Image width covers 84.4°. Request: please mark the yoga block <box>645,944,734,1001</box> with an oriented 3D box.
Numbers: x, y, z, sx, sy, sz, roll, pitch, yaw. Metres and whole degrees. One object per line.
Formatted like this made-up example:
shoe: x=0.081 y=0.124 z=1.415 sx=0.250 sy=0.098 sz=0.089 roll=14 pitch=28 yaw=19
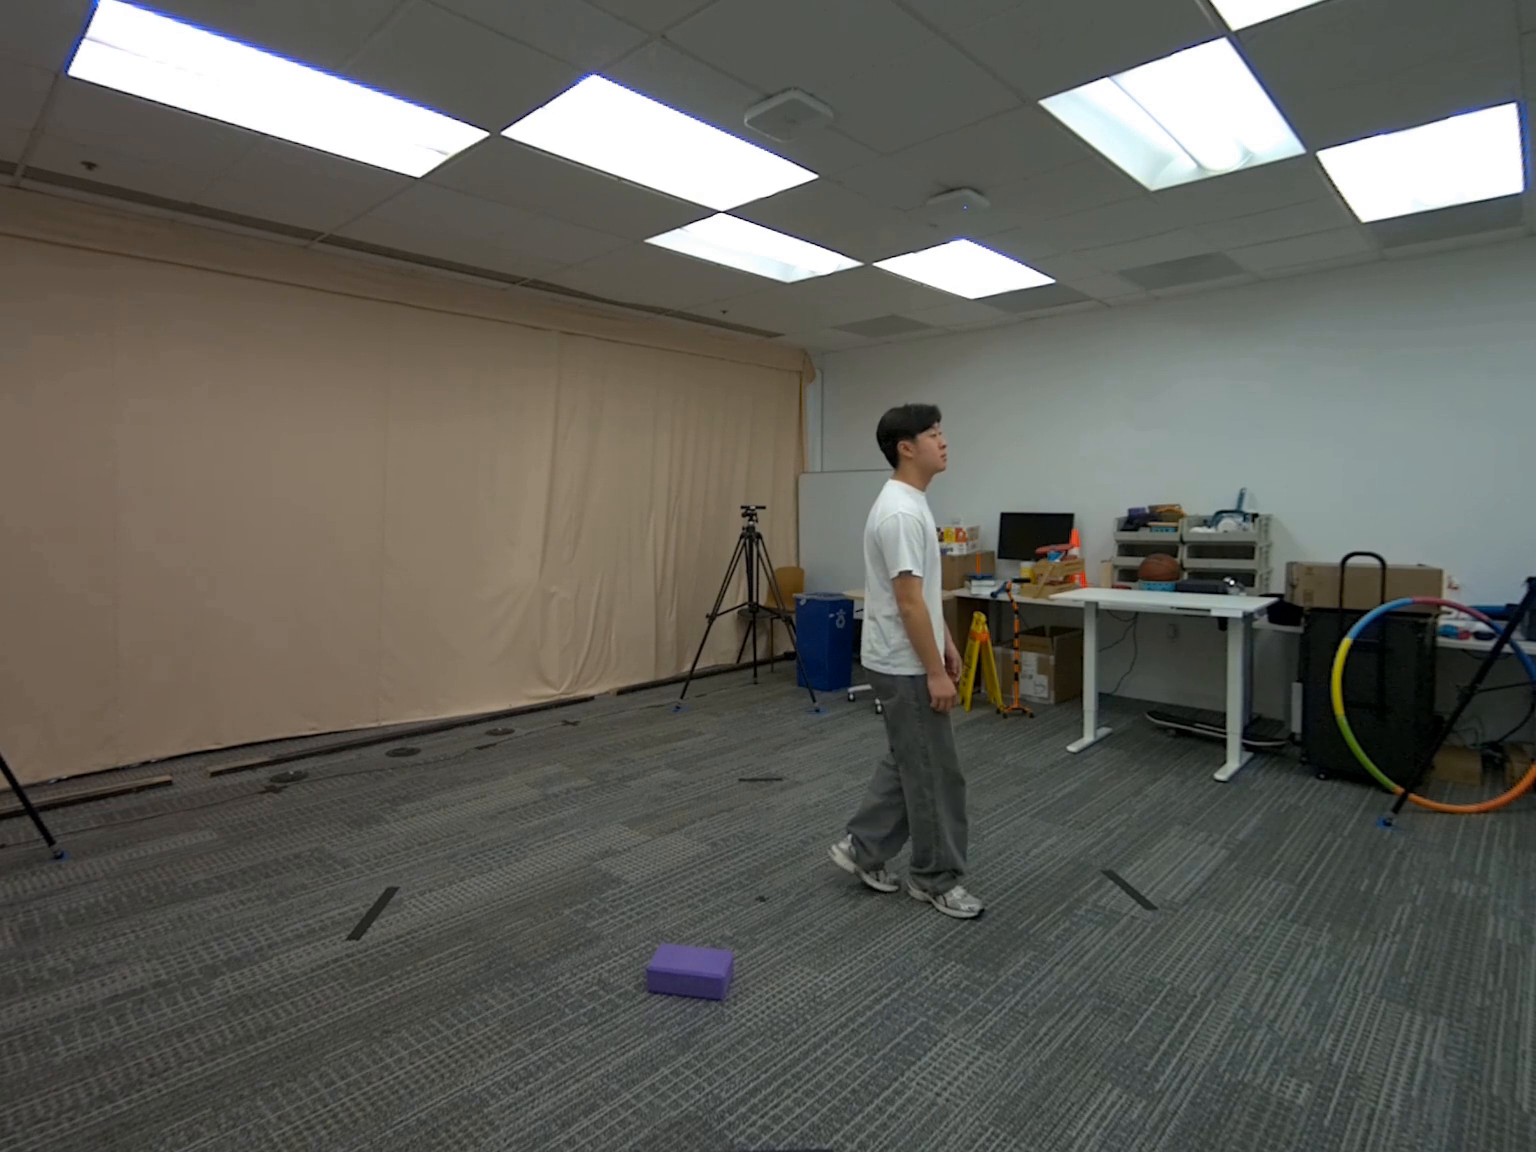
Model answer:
yoga block: x=-0.216 y=1.150 z=2.448 sx=0.233 sy=0.076 sz=0.147 roll=1 pitch=4 yaw=13
